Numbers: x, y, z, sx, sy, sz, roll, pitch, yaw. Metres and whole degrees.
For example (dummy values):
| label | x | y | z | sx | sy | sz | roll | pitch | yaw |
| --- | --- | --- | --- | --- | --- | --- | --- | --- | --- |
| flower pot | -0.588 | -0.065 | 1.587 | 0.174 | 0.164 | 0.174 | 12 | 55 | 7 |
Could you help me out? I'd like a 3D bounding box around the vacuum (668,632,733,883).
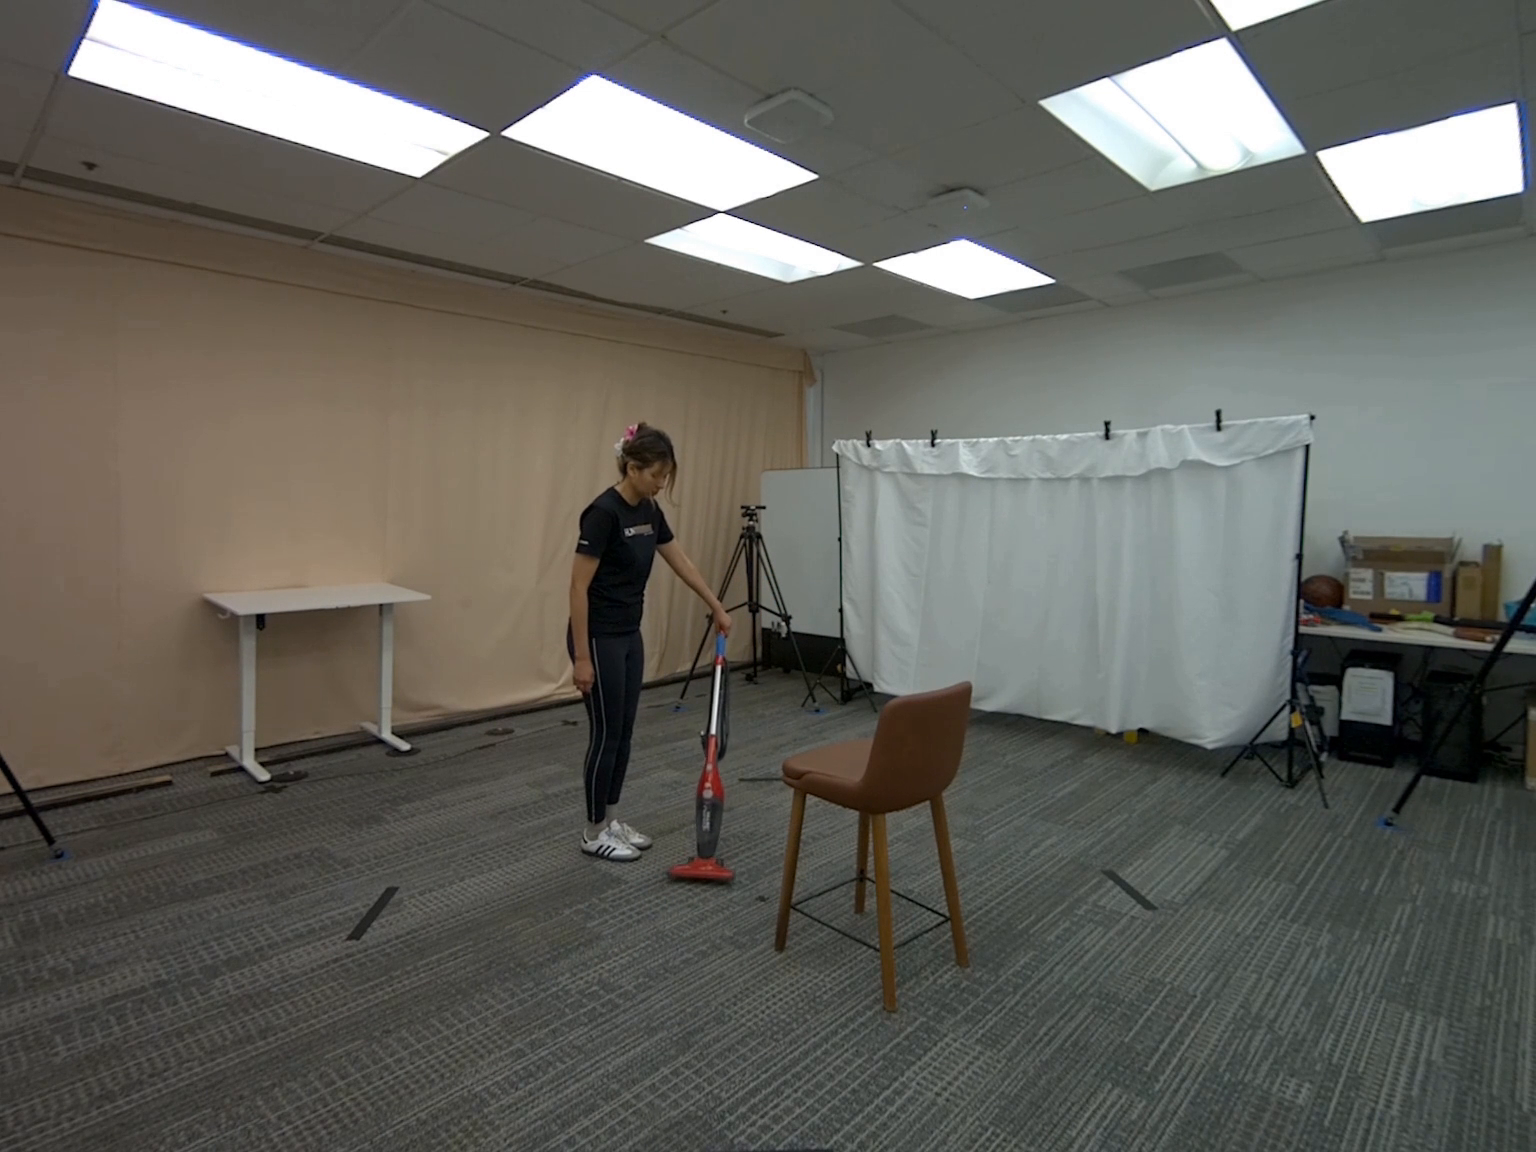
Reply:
| label | x | y | z | sx | sy | sz | roll | pitch | yaw |
| --- | --- | --- | --- | --- | --- | --- | --- | --- | --- |
| vacuum | -0.209 | 0.664 | 3.405 | 0.255 | 1.063 | 0.140 | 0 | -31 | 10 |
